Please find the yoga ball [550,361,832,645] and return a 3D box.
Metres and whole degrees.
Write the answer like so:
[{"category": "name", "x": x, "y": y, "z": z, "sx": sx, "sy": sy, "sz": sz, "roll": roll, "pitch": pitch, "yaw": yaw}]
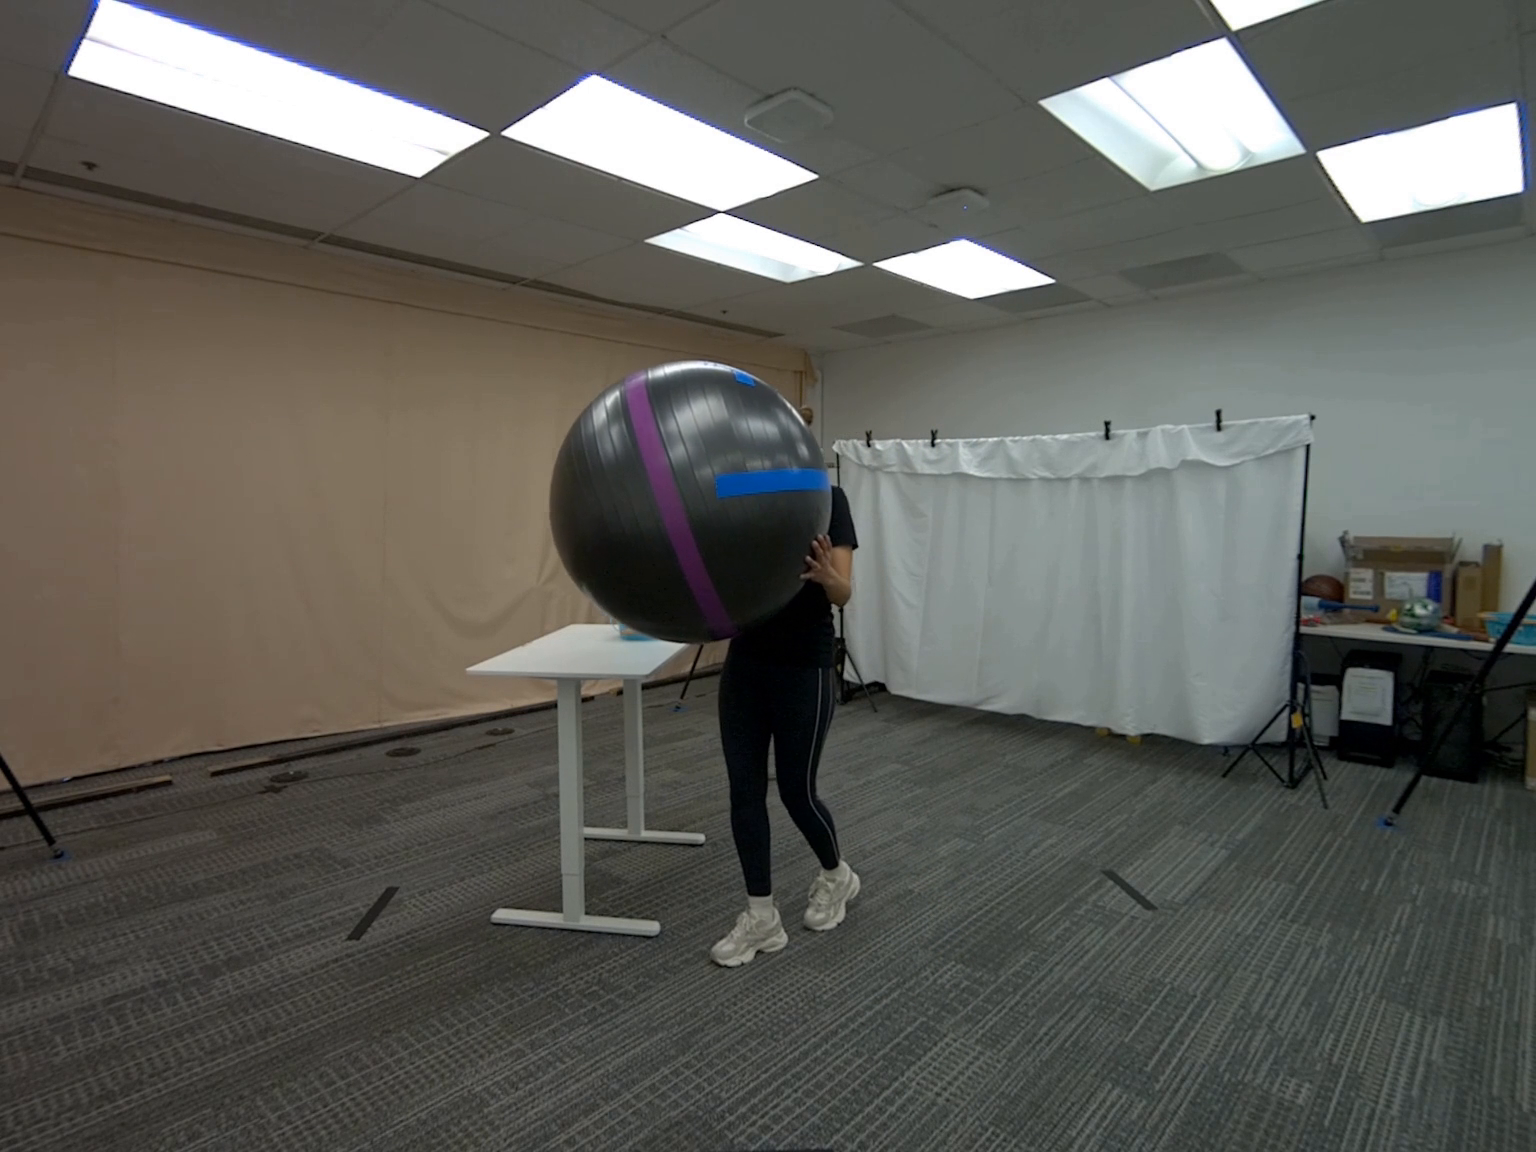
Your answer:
[{"category": "yoga ball", "x": -0.212, "y": -0.196, "z": 2.293, "sx": 0.757, "sy": 0.756, "sz": 0.761, "roll": 0, "pitch": 4, "yaw": -2}]
